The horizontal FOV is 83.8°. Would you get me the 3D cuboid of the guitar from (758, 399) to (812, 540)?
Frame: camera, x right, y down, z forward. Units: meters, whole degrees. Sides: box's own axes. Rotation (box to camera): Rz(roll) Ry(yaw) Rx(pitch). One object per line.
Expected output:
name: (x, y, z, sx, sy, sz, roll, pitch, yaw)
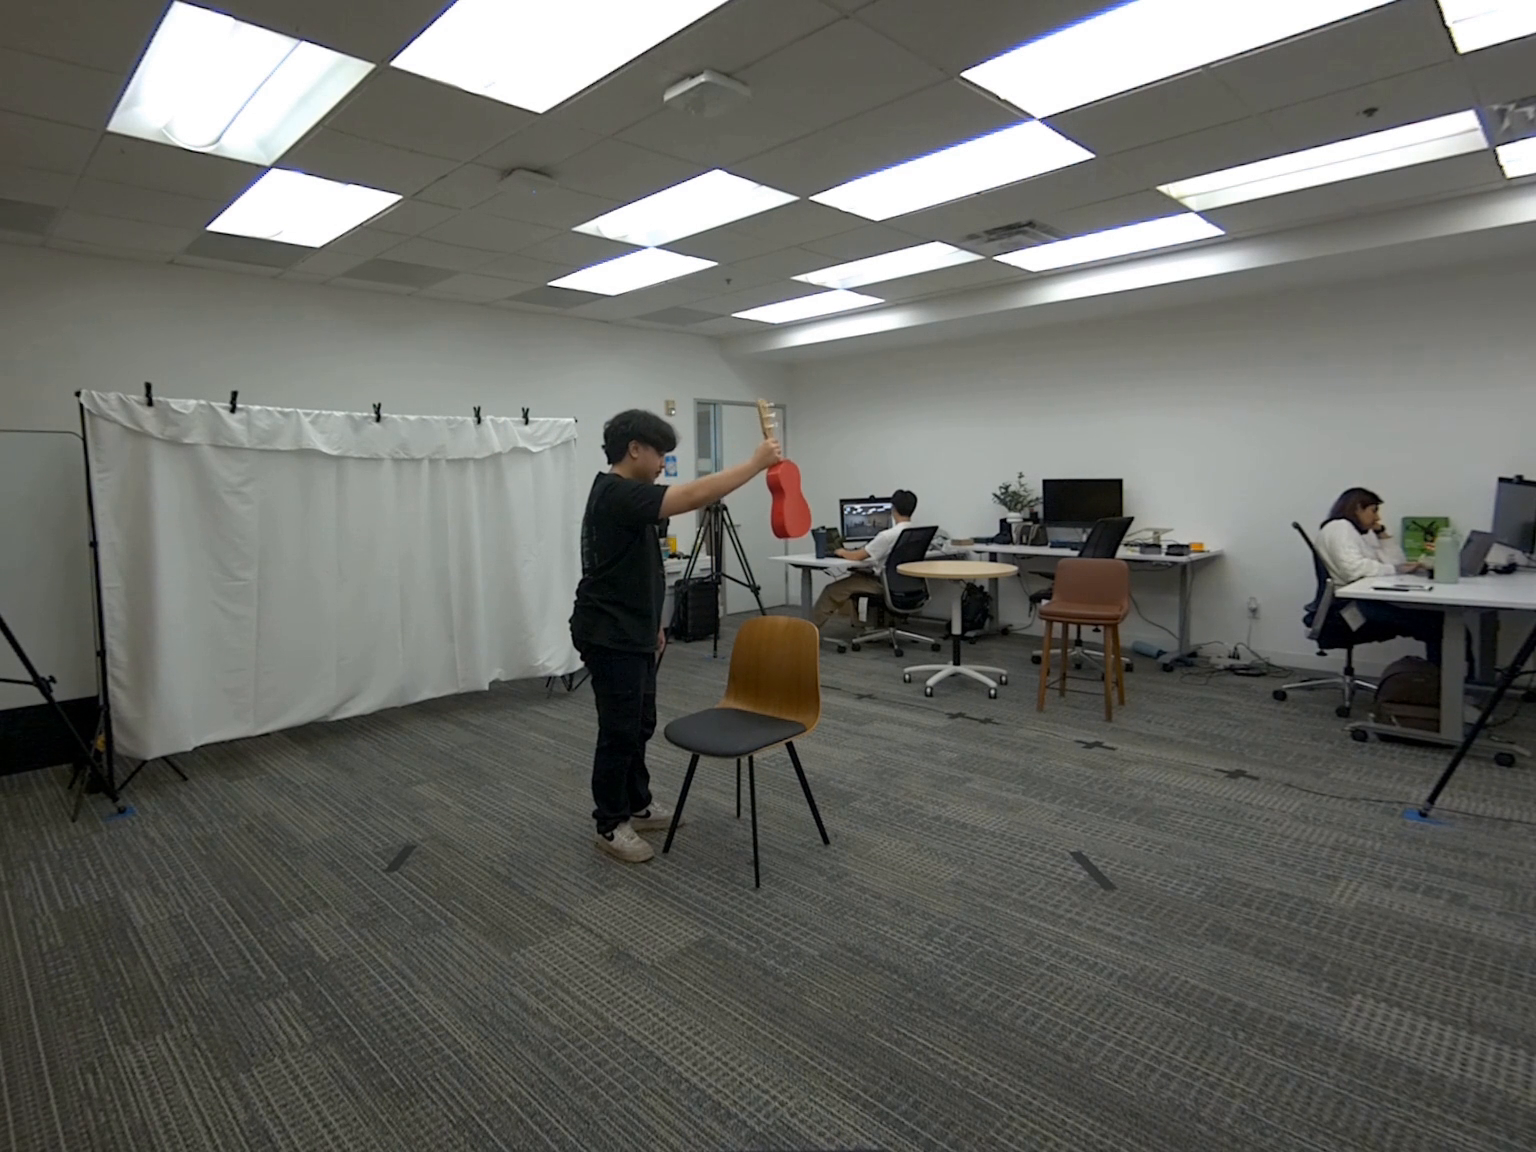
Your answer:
guitar: (0.031, -0.364, 3.000, 0.072, 0.490, 0.191, -8, 16, 31)
